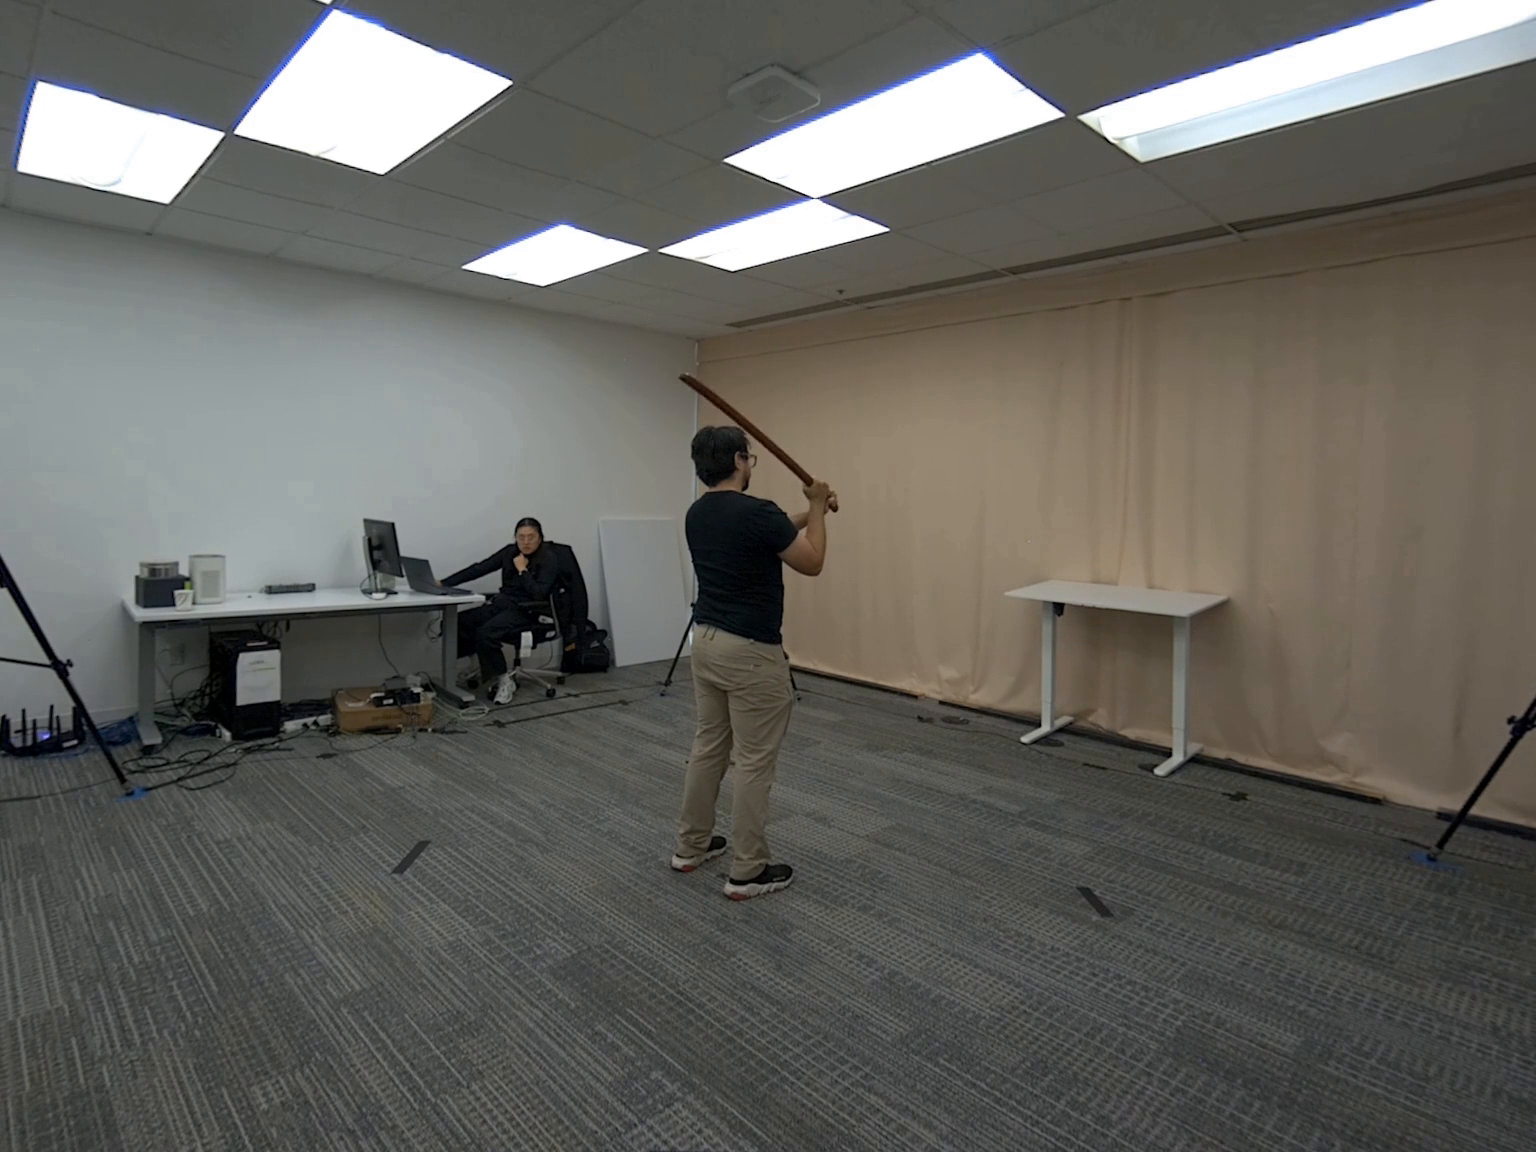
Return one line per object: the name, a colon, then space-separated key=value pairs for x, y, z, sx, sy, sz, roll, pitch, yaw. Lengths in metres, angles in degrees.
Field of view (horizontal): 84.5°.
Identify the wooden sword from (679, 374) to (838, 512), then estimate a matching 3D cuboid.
wooden sword: x=-0.003 y=-0.436 z=2.864 sx=0.053 sy=0.024 sz=0.993 roll=44 pitch=9 yaw=38
